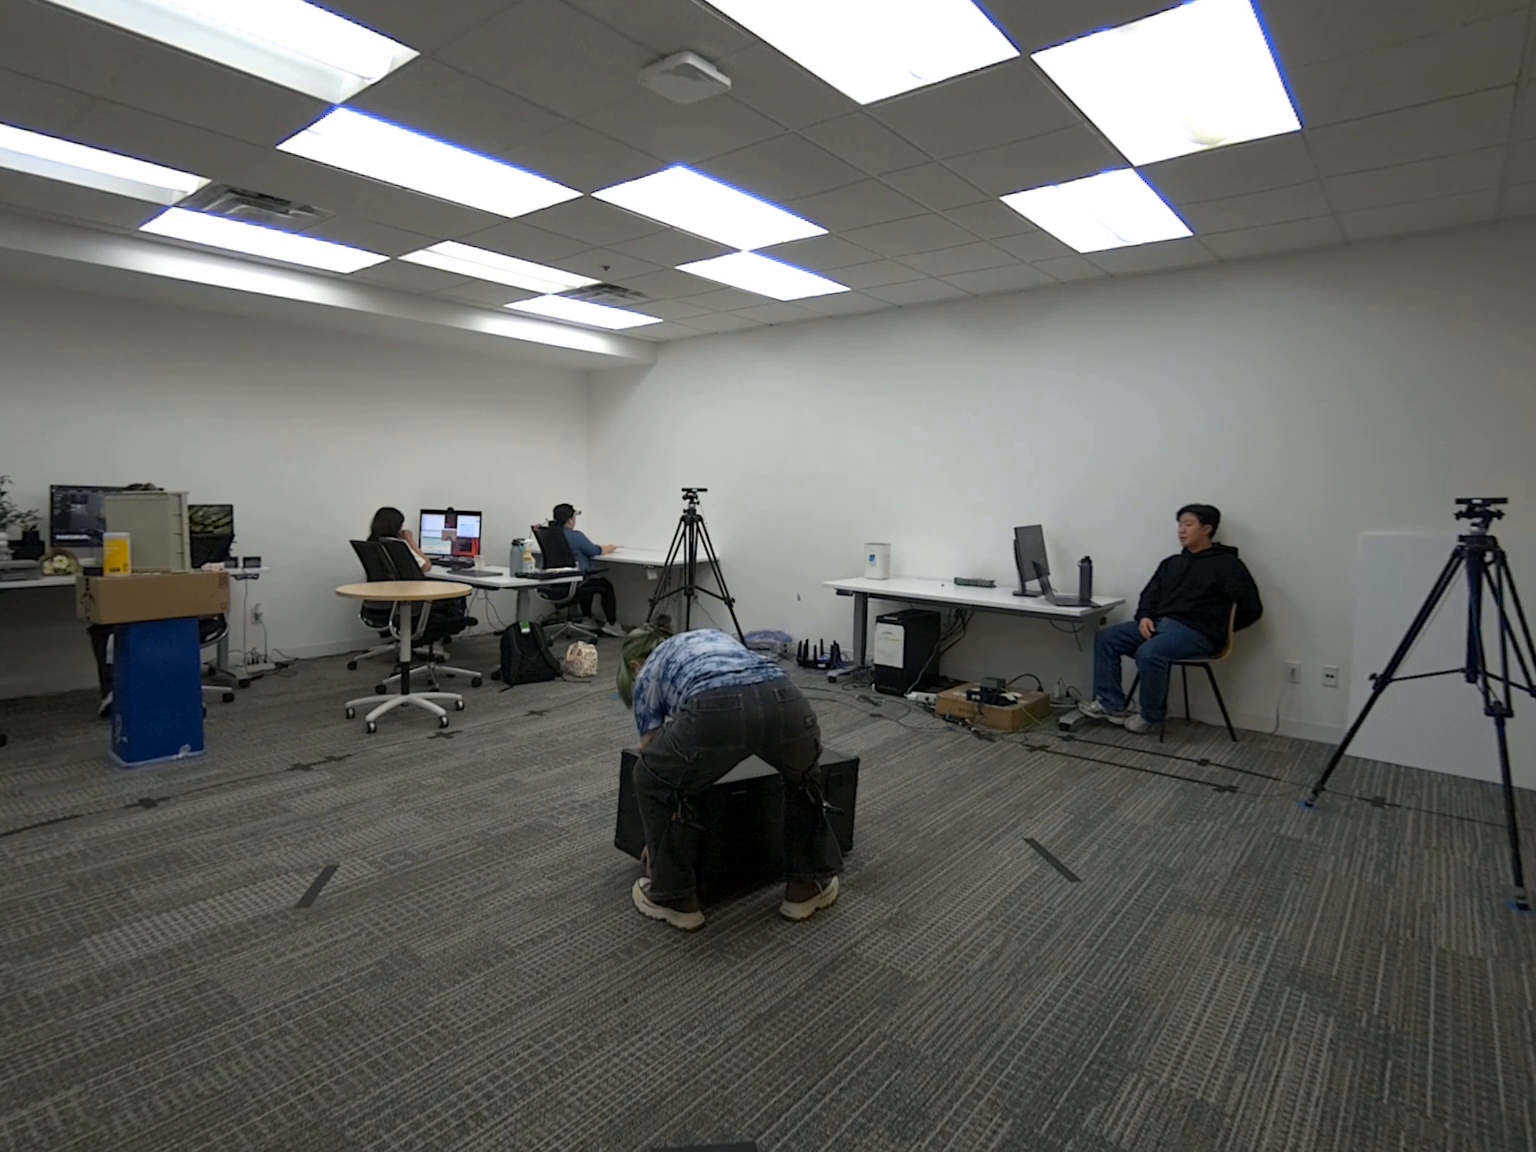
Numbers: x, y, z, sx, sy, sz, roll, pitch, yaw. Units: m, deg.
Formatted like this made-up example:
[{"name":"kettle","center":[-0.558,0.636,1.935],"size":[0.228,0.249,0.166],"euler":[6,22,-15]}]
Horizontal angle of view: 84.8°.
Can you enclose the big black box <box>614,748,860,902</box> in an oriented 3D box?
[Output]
[{"name":"big black box","center":[-0.090,0.853,3.206],"size":[0.833,0.396,0.539],"euler":[1,3,-43]}]
